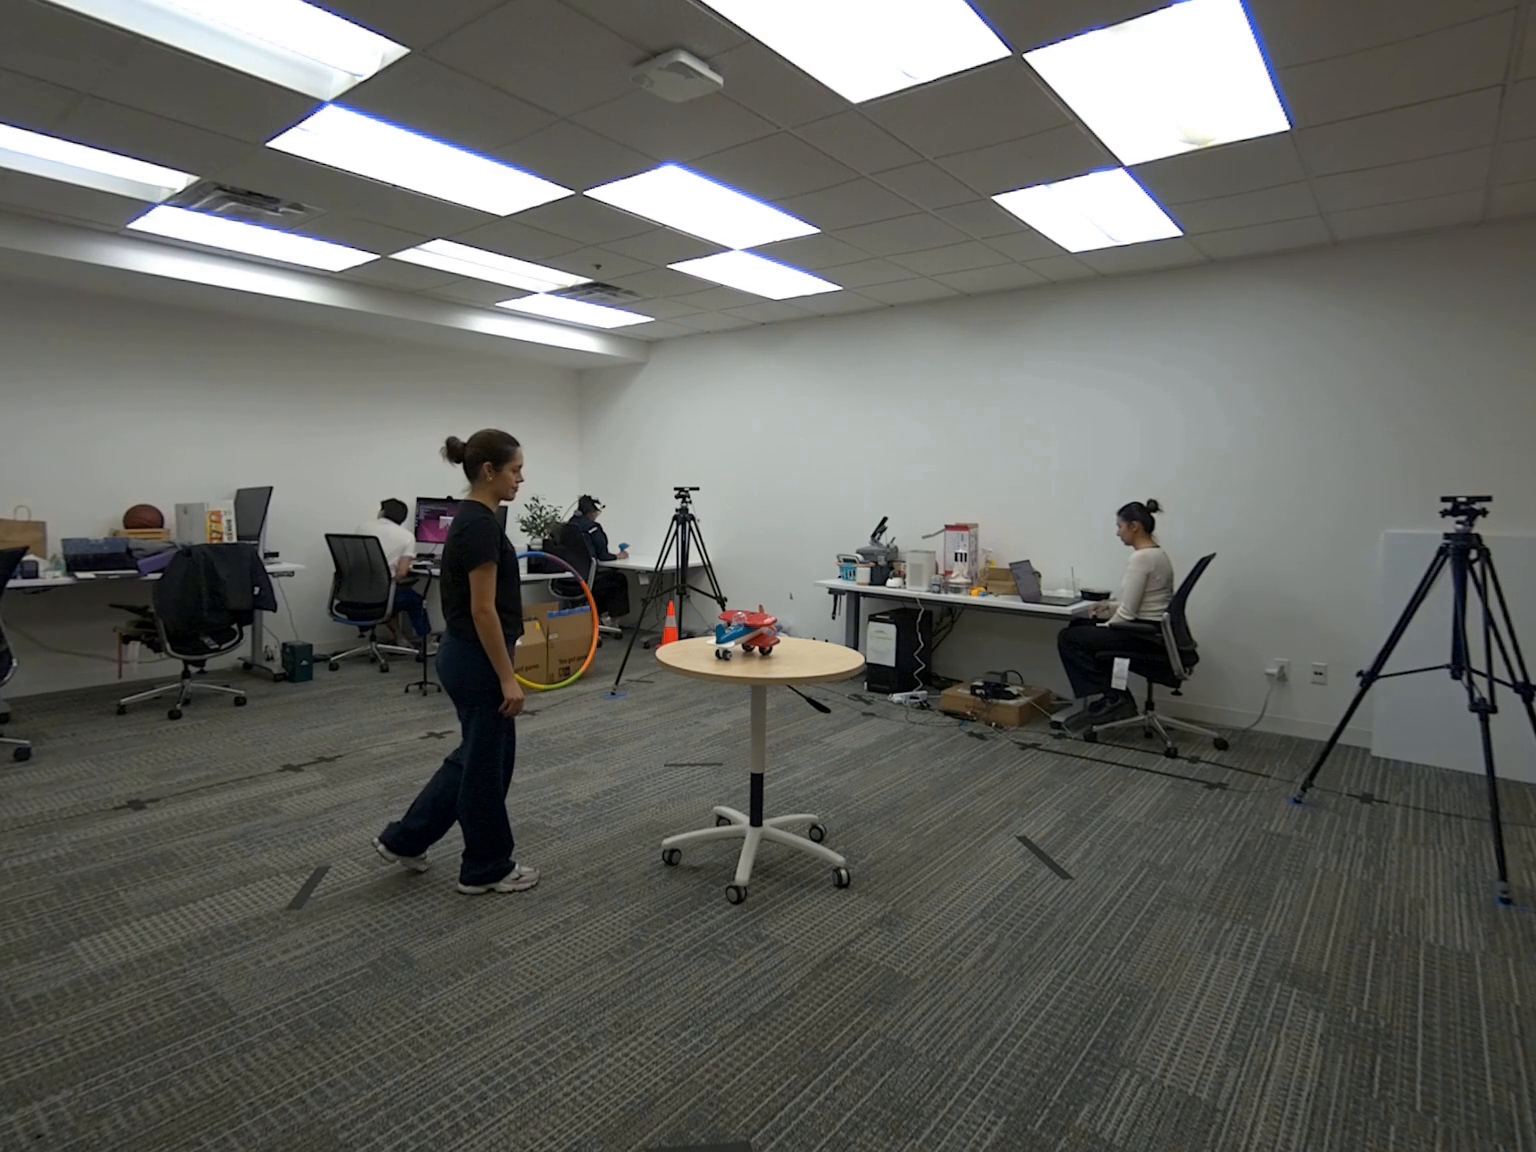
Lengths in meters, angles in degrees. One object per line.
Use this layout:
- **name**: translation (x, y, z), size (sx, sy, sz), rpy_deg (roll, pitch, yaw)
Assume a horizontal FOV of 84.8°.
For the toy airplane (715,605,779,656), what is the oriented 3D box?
- **toy airplane**: translation (-0.071, 0.214, 3.083), size (0.256, 0.156, 0.255), rpy_deg (2, 4, 16)
